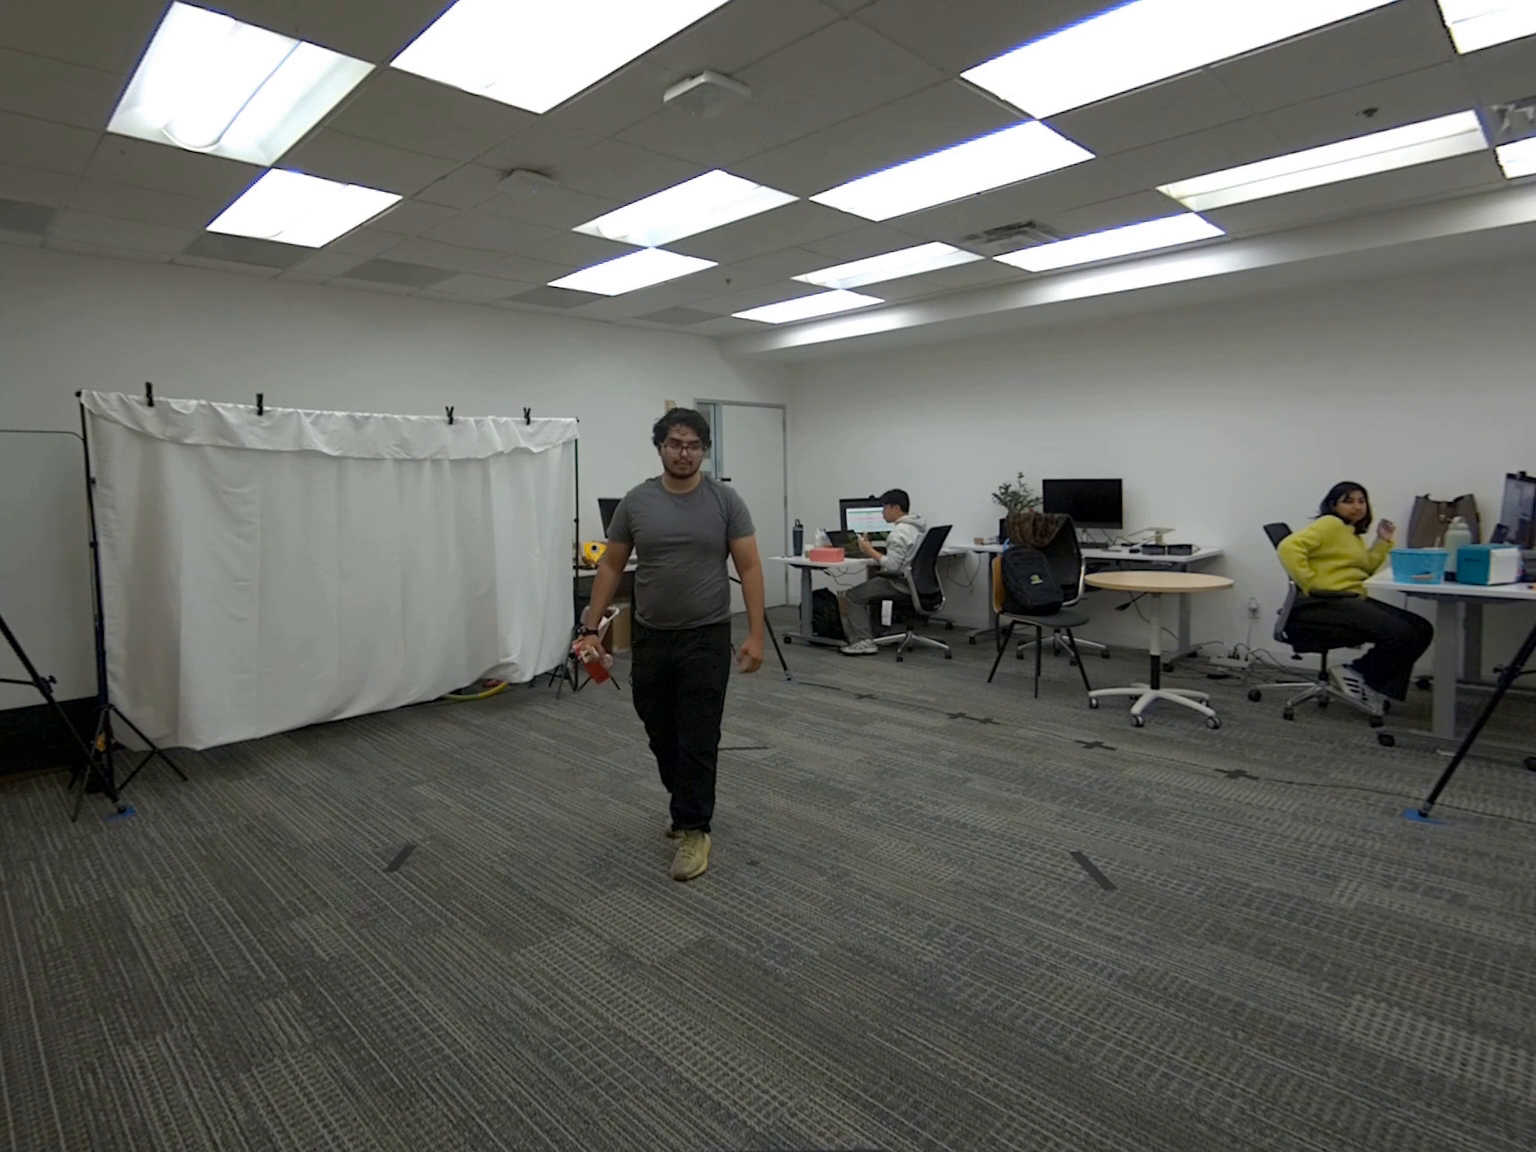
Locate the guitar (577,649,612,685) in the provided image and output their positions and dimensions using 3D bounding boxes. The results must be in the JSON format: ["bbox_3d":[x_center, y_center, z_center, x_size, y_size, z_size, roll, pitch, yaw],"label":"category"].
[{"bbox_3d":[-0.658,0.273,3.127,0.070,0.196,0.491,-28,-12,-10],"label":"guitar"}]
